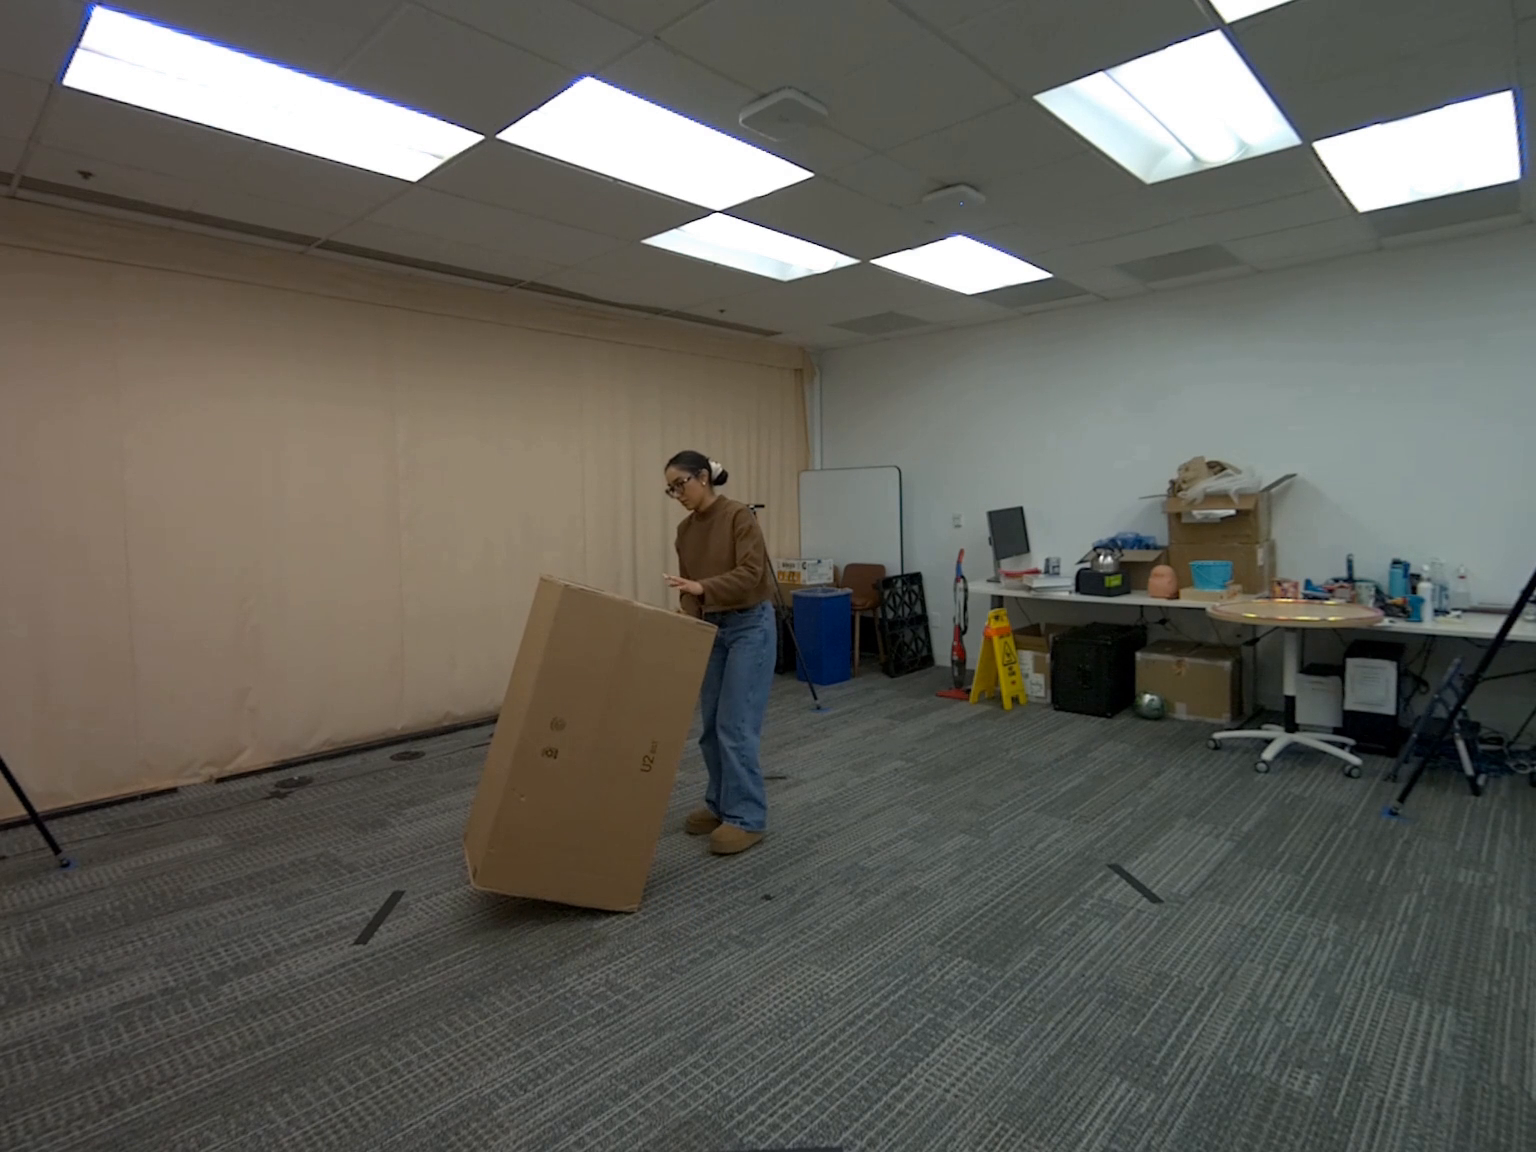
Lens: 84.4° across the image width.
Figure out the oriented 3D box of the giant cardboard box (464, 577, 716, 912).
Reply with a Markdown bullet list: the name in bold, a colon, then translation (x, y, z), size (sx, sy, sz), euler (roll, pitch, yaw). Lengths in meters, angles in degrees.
- **giant cardboard box**: translation (-0.649, 0.578, 3.016), size (0.569, 1.028, 0.458), euler (17, -3, -24)
